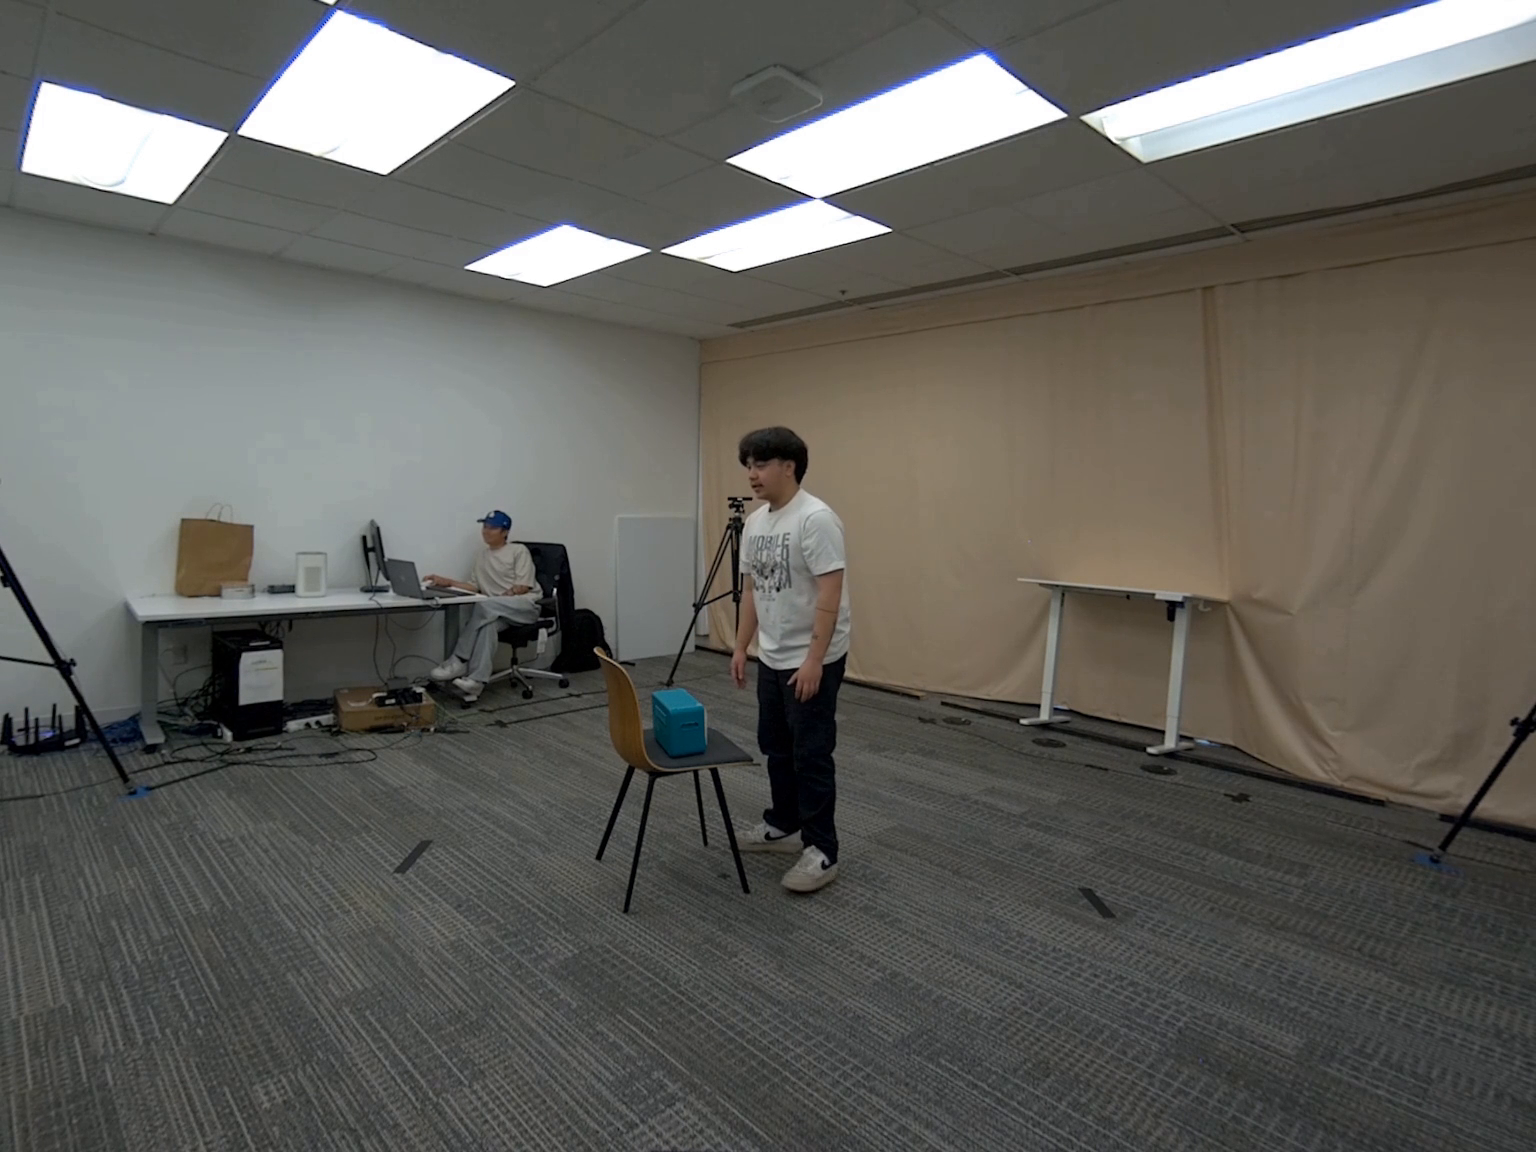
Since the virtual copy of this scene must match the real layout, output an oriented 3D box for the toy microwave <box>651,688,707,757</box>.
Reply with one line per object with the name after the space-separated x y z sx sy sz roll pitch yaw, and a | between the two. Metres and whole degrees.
-0.326 0.529 3.073 0.150 0.183 0.291 -4 6 -20 | toy microwave
